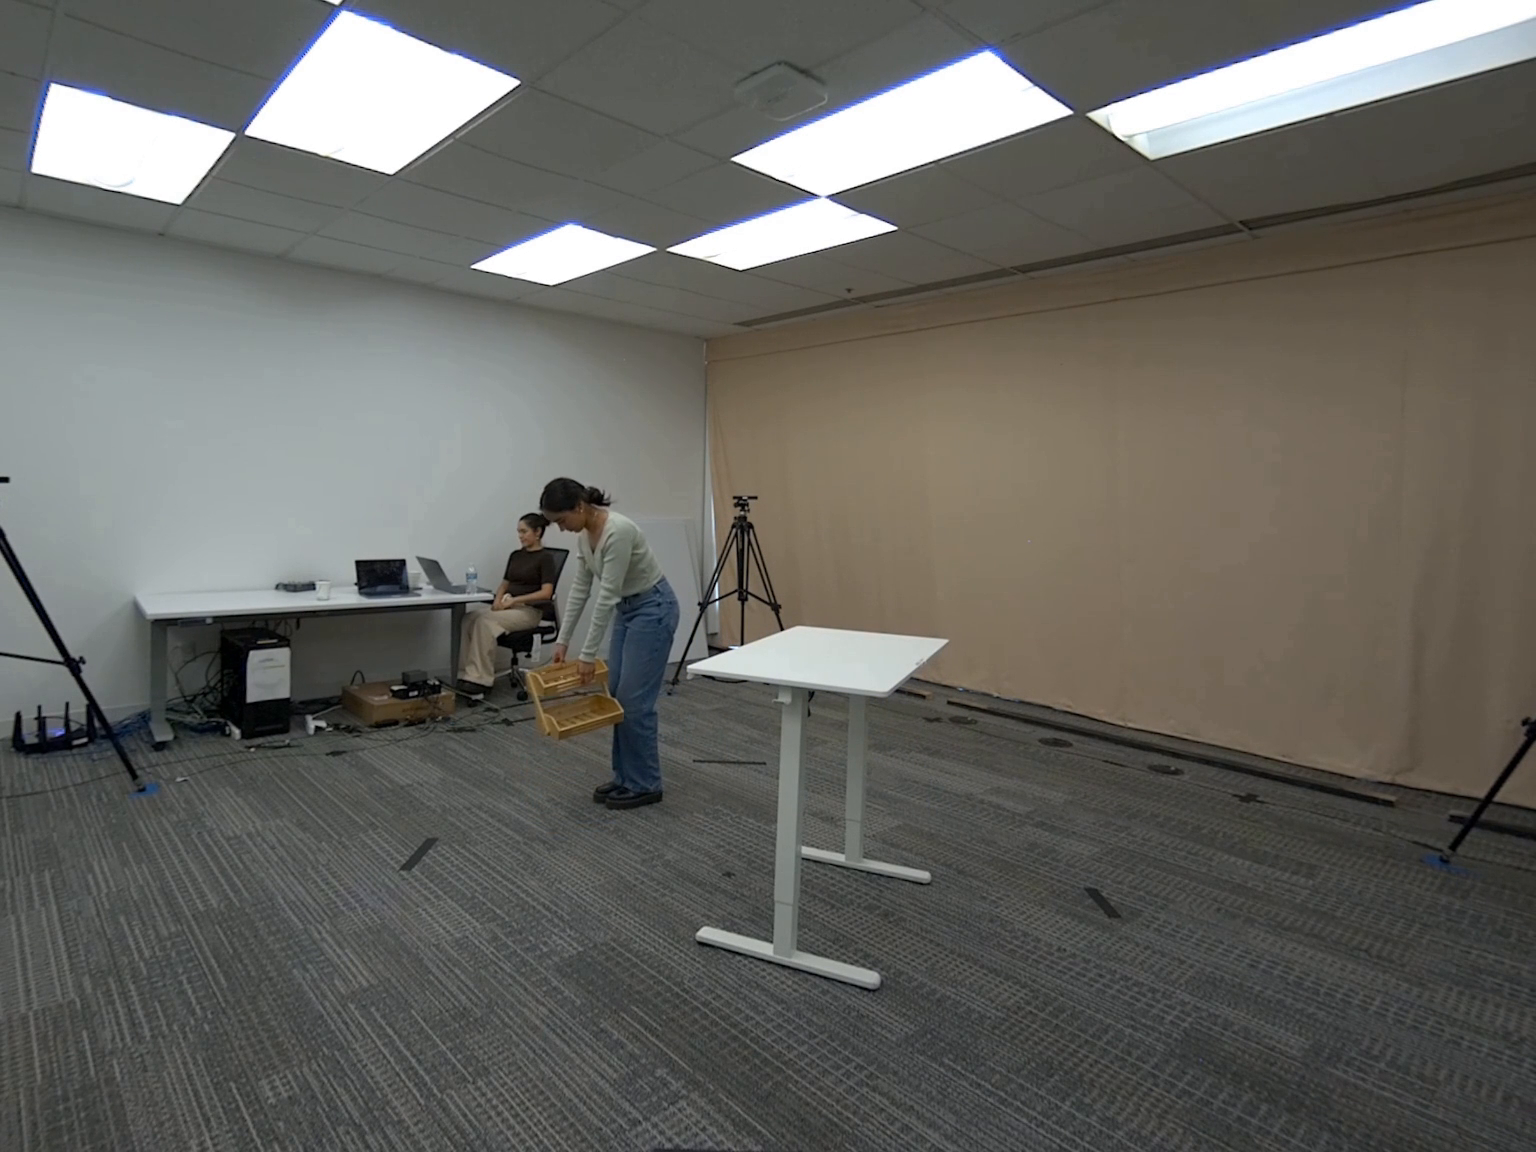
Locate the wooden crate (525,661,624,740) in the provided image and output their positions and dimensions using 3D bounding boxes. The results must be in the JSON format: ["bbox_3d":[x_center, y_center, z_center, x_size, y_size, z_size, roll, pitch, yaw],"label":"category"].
[{"bbox_3d":[-0.854,0.519,3.628,0.318,0.272,0.308,-11,5,-35],"label":"wooden crate"}]
